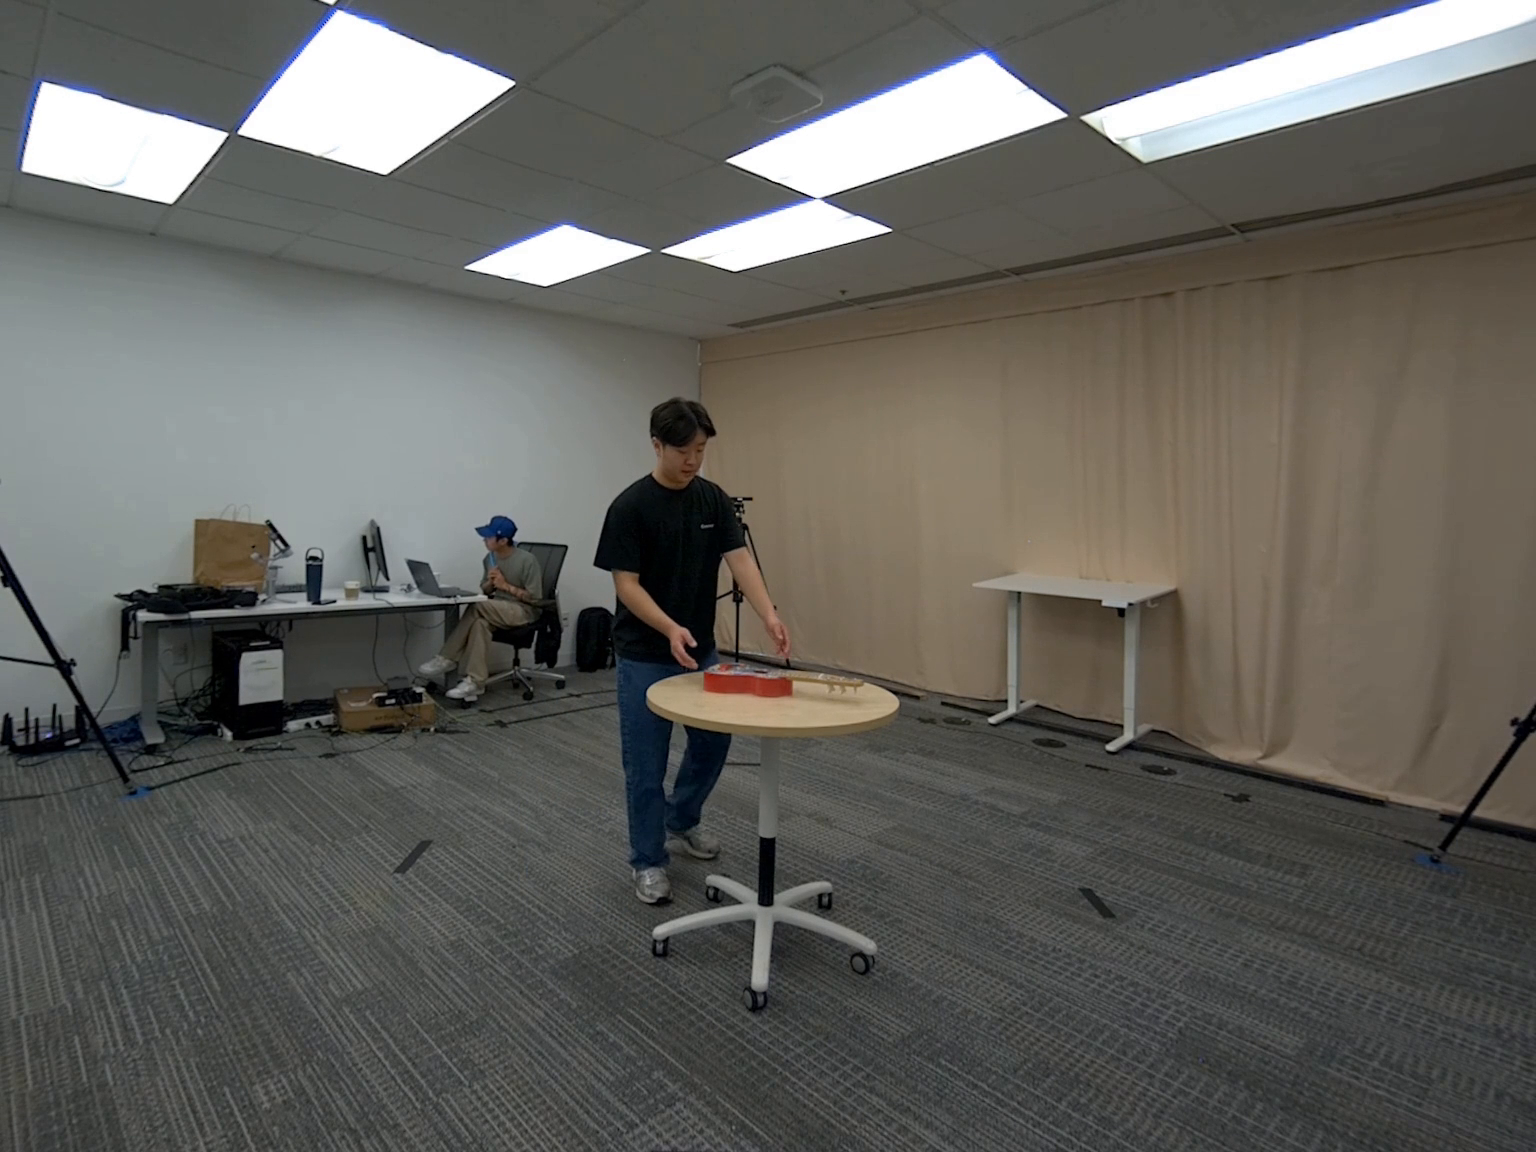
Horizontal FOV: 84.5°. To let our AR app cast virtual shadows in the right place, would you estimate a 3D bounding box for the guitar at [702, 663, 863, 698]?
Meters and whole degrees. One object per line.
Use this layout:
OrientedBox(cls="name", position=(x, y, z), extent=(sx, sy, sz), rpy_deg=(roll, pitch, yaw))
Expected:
OrientedBox(cls="guitar", position=(0.027, 0.334, 2.553), extent=(0.509, 0.070, 0.189), rpy_deg=(4, 5, 32))
